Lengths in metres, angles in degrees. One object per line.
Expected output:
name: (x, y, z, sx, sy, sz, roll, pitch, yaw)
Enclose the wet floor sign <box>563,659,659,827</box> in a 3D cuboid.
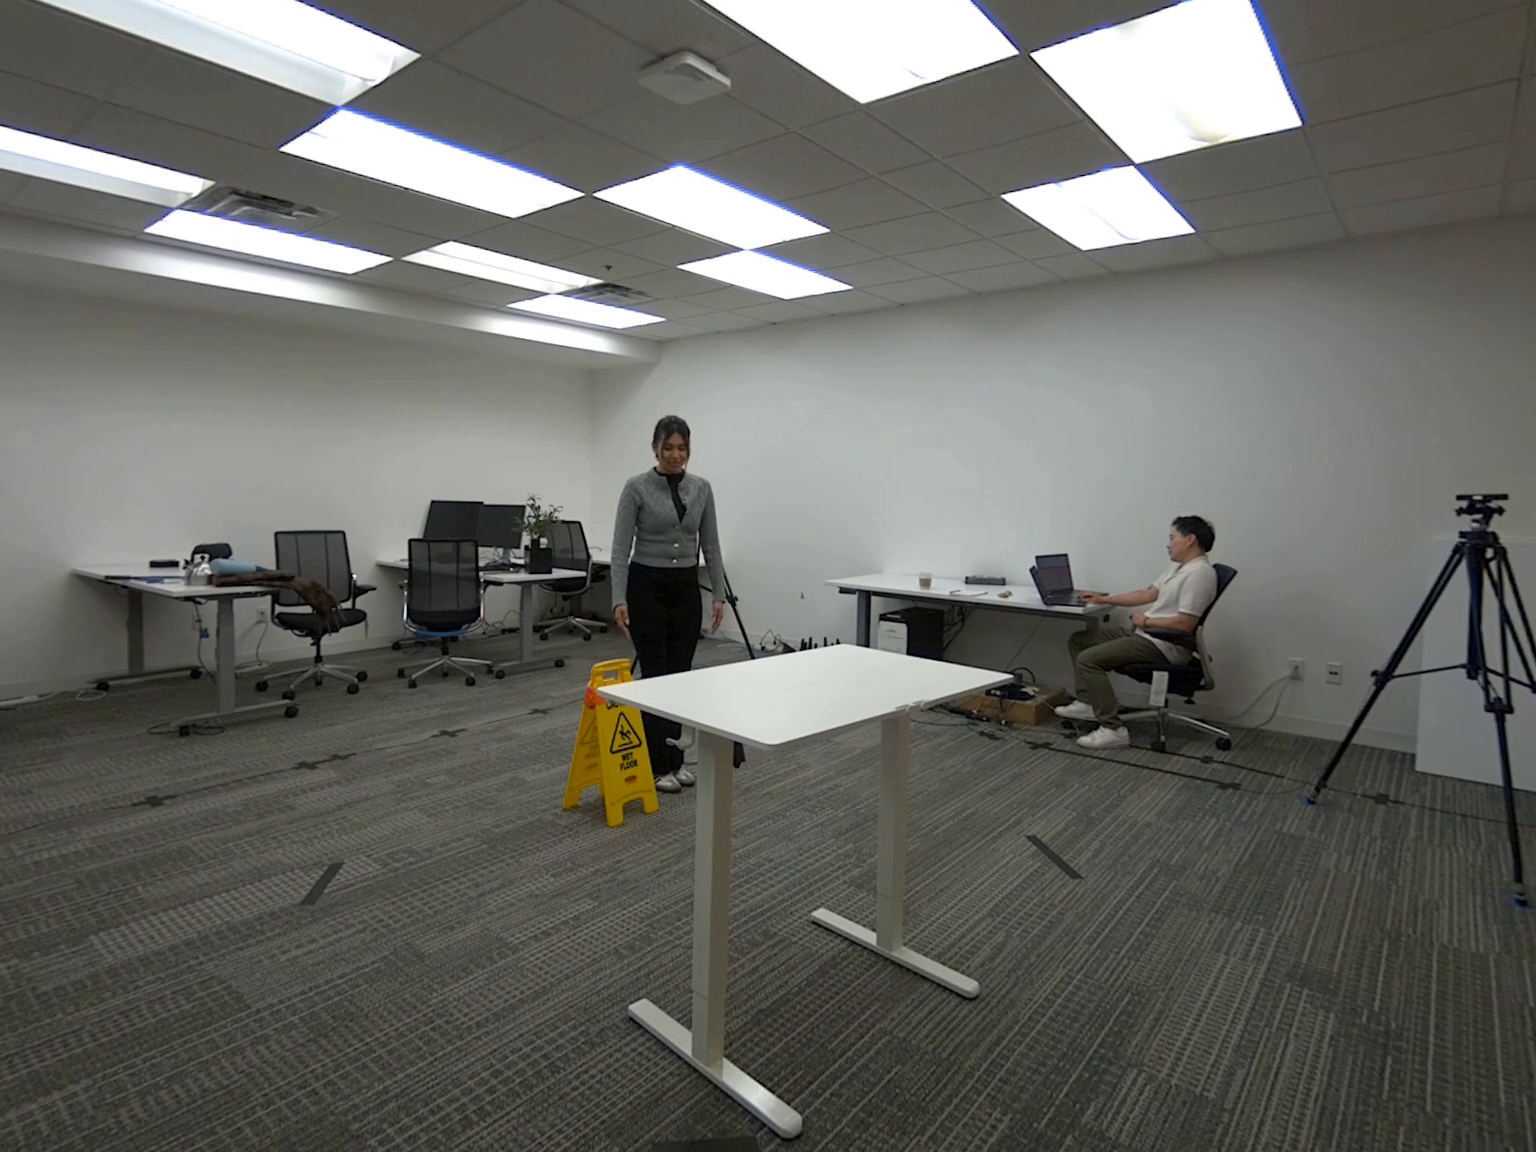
wet floor sign: (-0.687, 0.686, 3.657, 0.299, 0.644, 0.274, 4, 4, 40)
